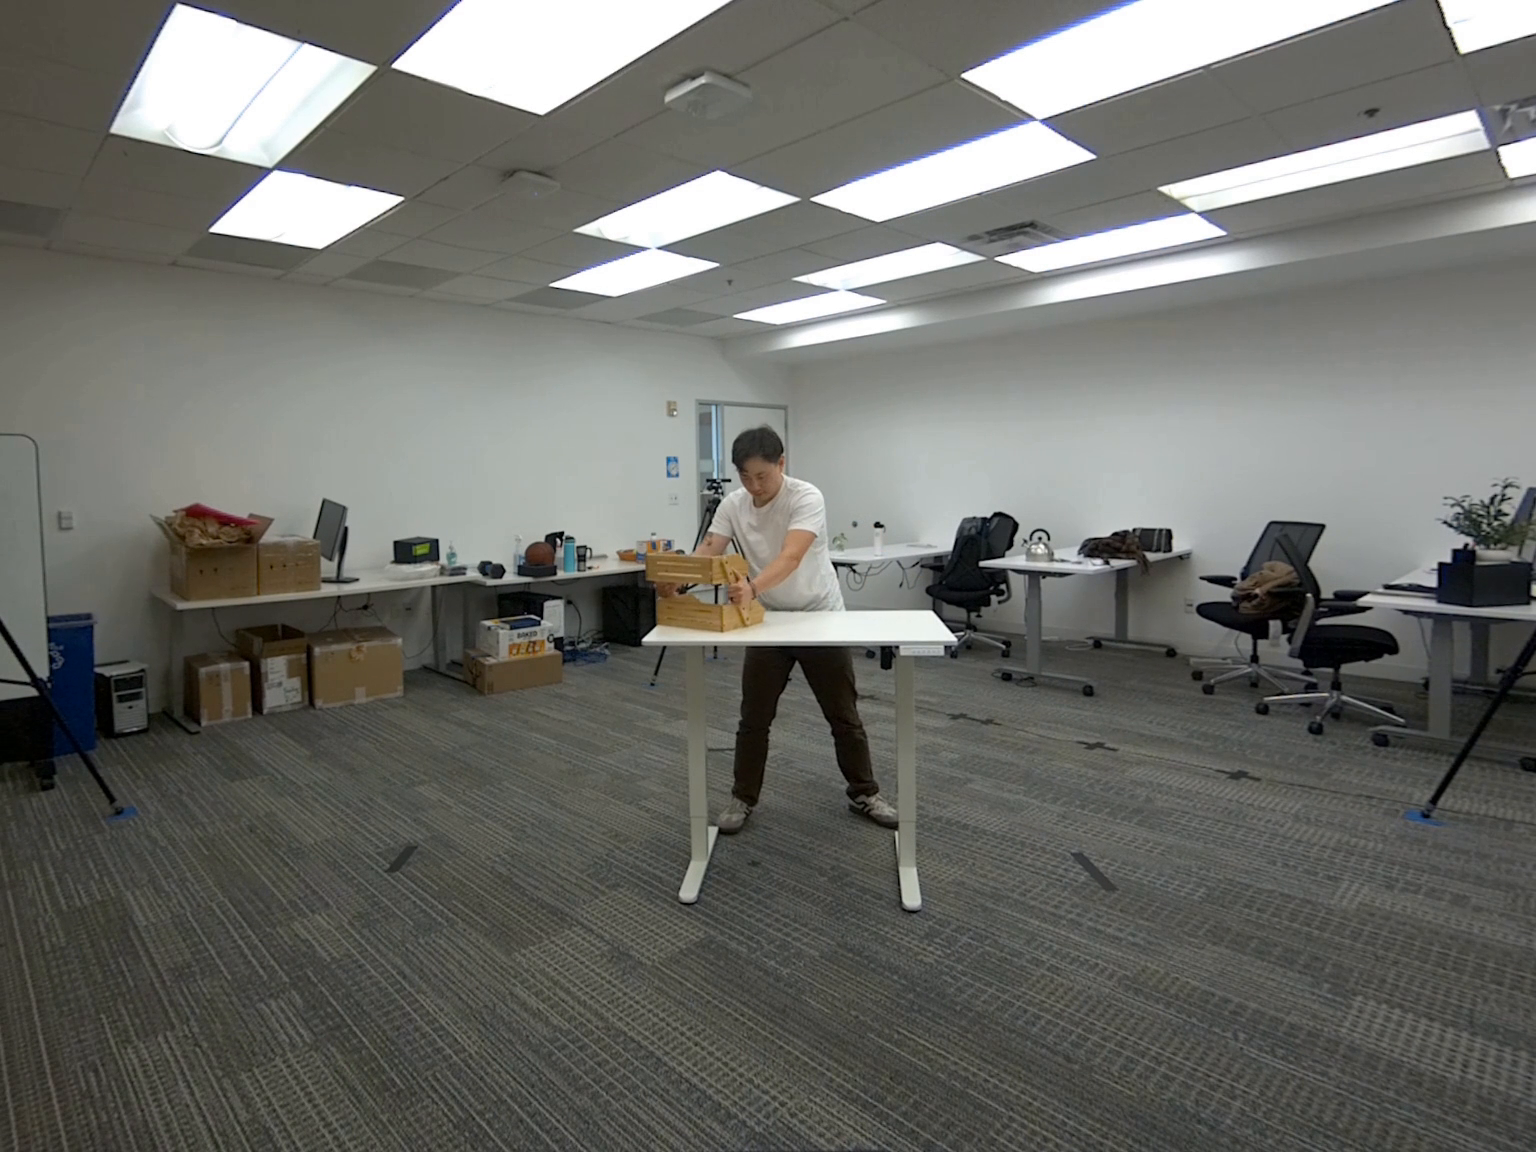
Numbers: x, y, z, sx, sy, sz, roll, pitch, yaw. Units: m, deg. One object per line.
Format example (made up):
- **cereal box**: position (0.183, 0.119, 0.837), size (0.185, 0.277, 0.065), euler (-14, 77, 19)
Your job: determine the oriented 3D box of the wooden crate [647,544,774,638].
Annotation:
- **wooden crate**: position (-0.203, 0.040, 3.044), size (0.334, 0.272, 0.295), euler (2, 7, 35)
